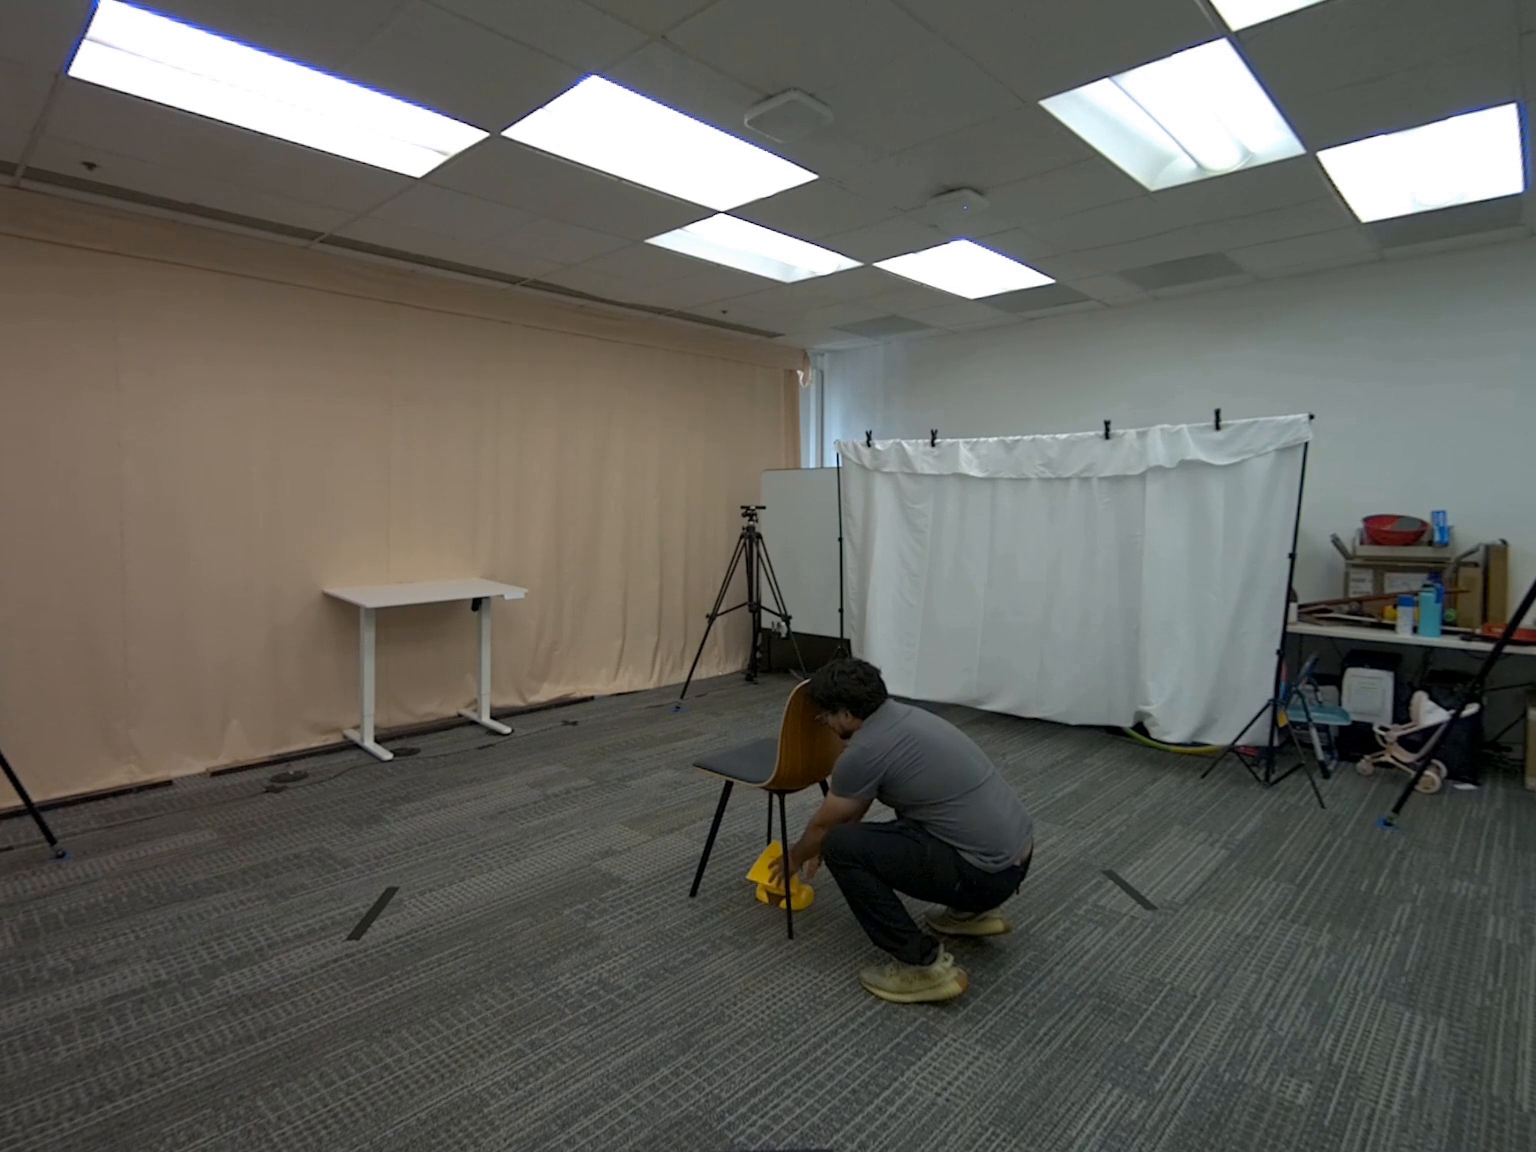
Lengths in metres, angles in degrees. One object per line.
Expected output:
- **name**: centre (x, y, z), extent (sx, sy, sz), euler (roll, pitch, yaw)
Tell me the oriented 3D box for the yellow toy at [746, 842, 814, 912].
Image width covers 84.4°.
- **yellow toy**: centre (0.054, 1.031, 2.982), extent (0.211, 0.229, 0.188), euler (2, 9, 41)
